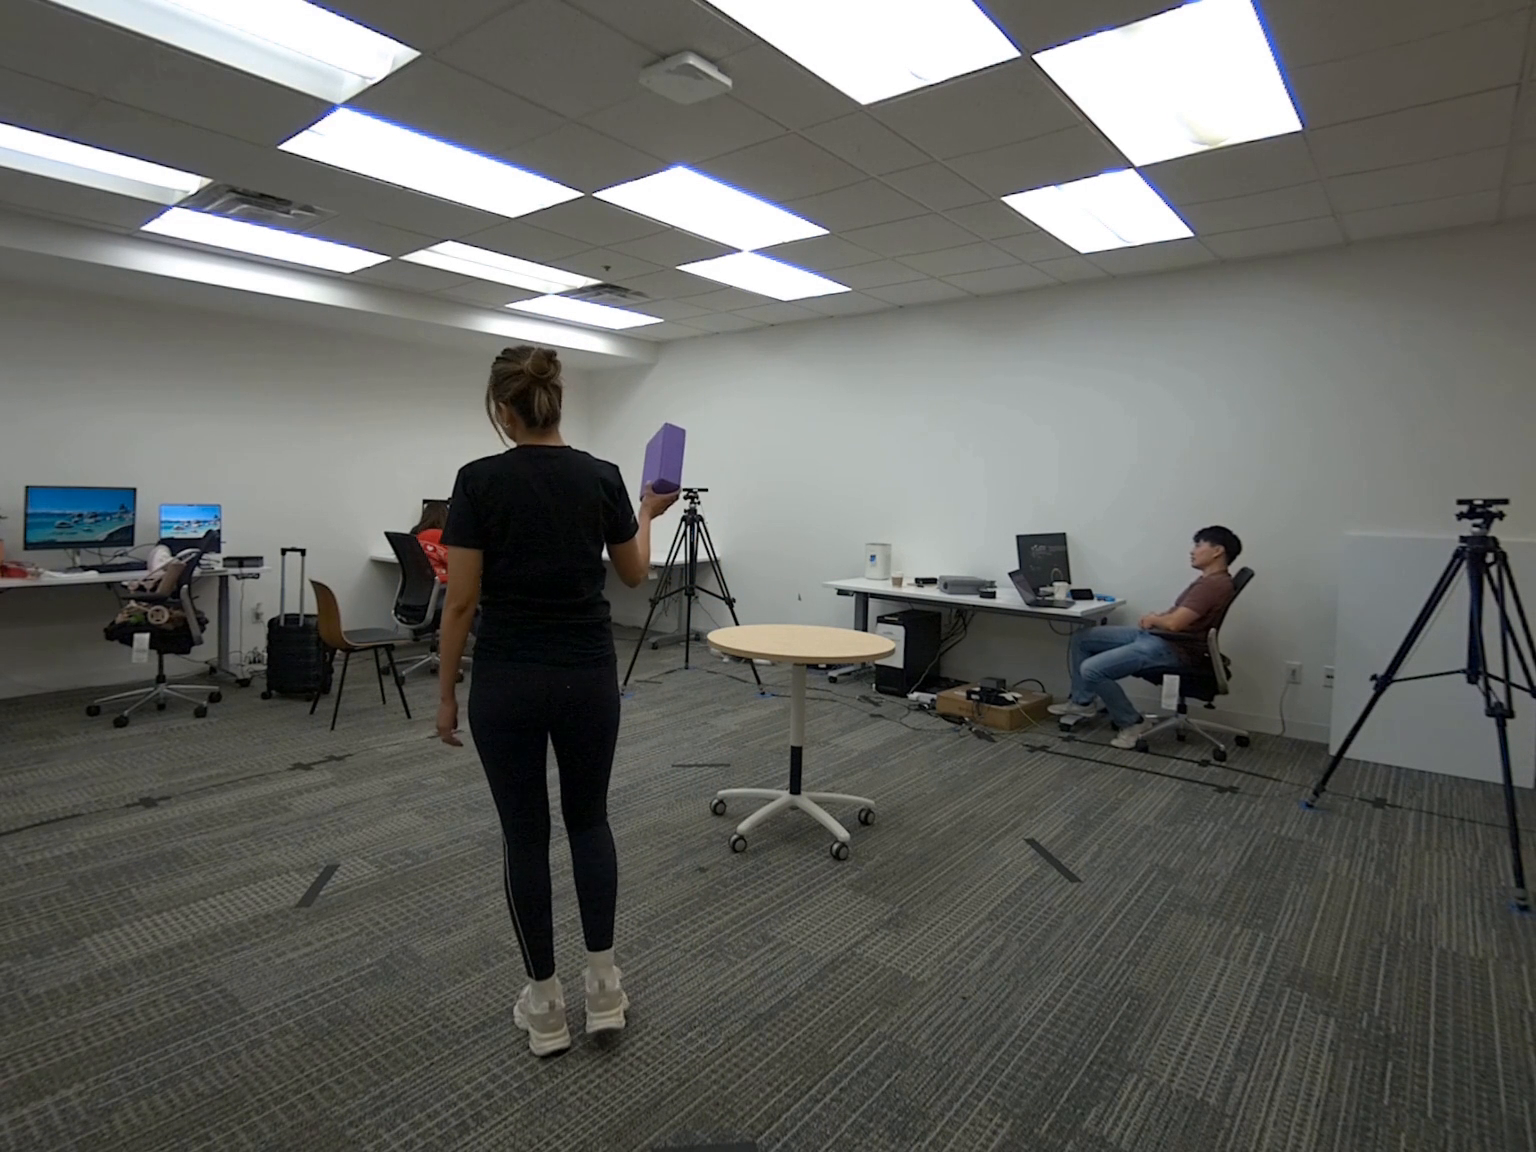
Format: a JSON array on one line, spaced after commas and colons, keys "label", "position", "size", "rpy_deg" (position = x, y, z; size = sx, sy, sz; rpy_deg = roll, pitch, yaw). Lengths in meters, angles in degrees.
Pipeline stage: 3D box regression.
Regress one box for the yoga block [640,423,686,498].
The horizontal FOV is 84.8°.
[{"label": "yoga block", "position": [-0.332, -0.349, 2.653], "size": [0.074, 0.235, 0.149], "rpy_deg": [18, -35, -24]}]
